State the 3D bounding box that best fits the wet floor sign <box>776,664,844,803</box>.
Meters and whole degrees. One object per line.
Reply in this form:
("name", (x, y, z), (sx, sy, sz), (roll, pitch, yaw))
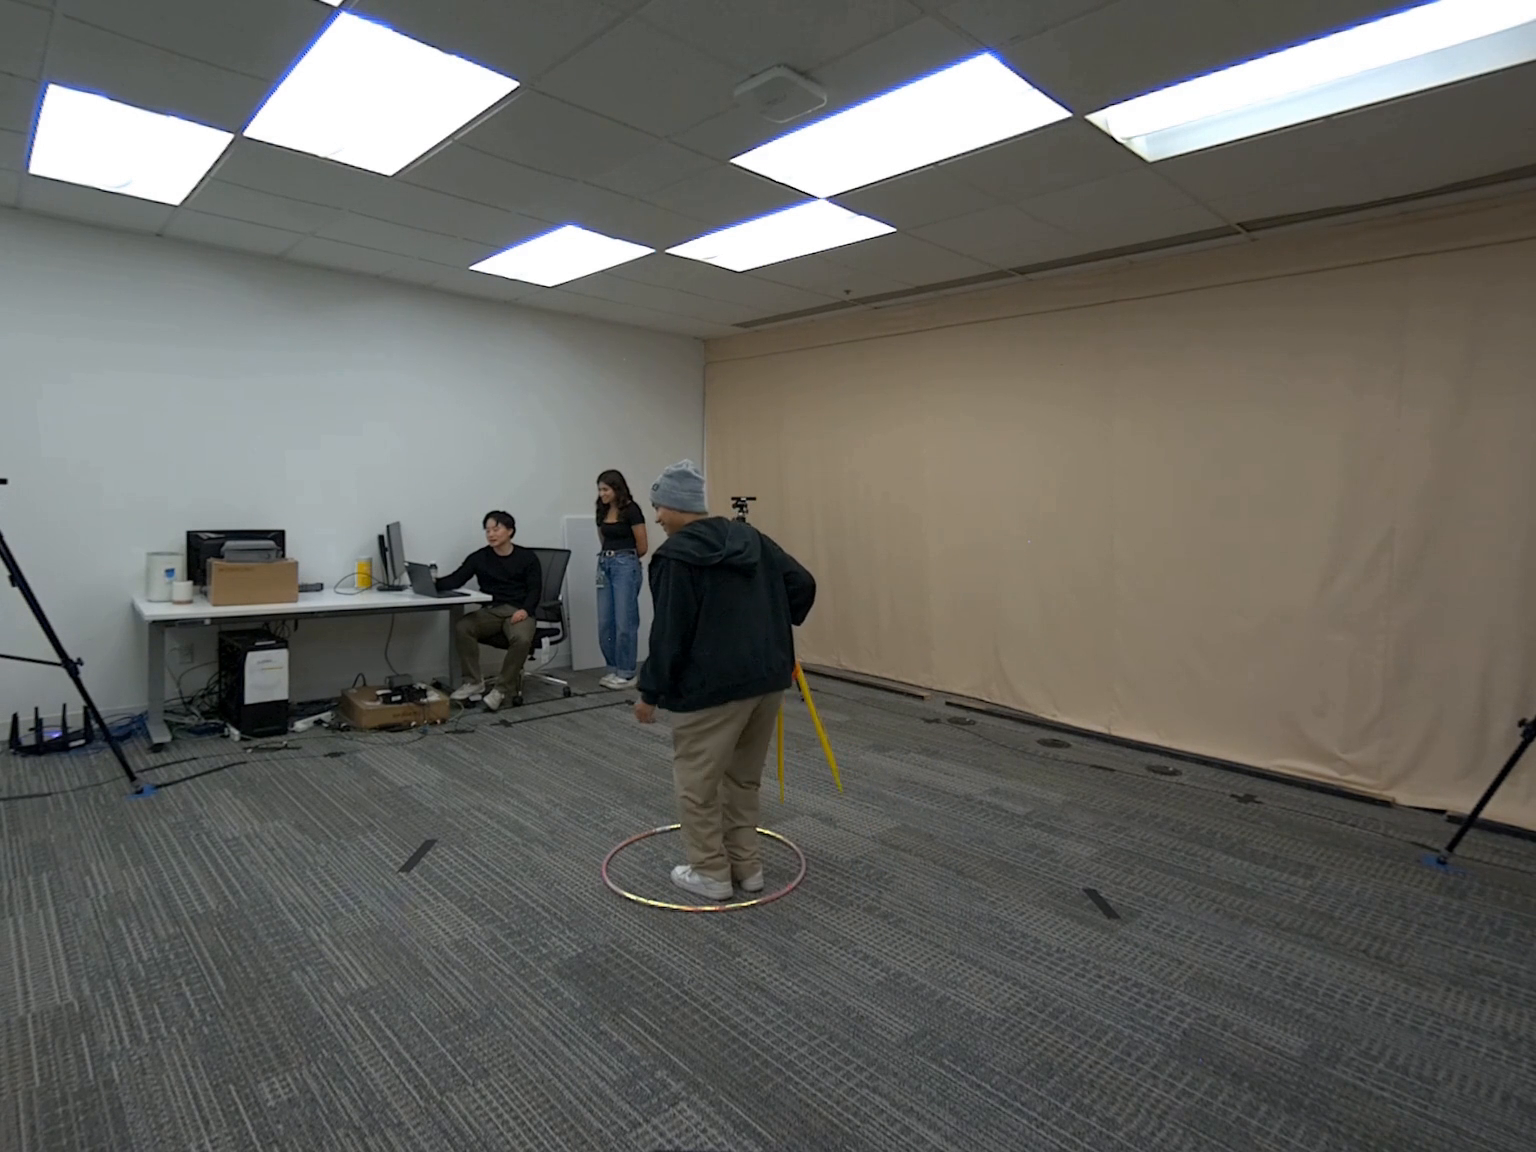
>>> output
("wet floor sign", (0.093, 0.523, 3.307), (0.290, 0.644, 0.282), (-9, 3, 2))
